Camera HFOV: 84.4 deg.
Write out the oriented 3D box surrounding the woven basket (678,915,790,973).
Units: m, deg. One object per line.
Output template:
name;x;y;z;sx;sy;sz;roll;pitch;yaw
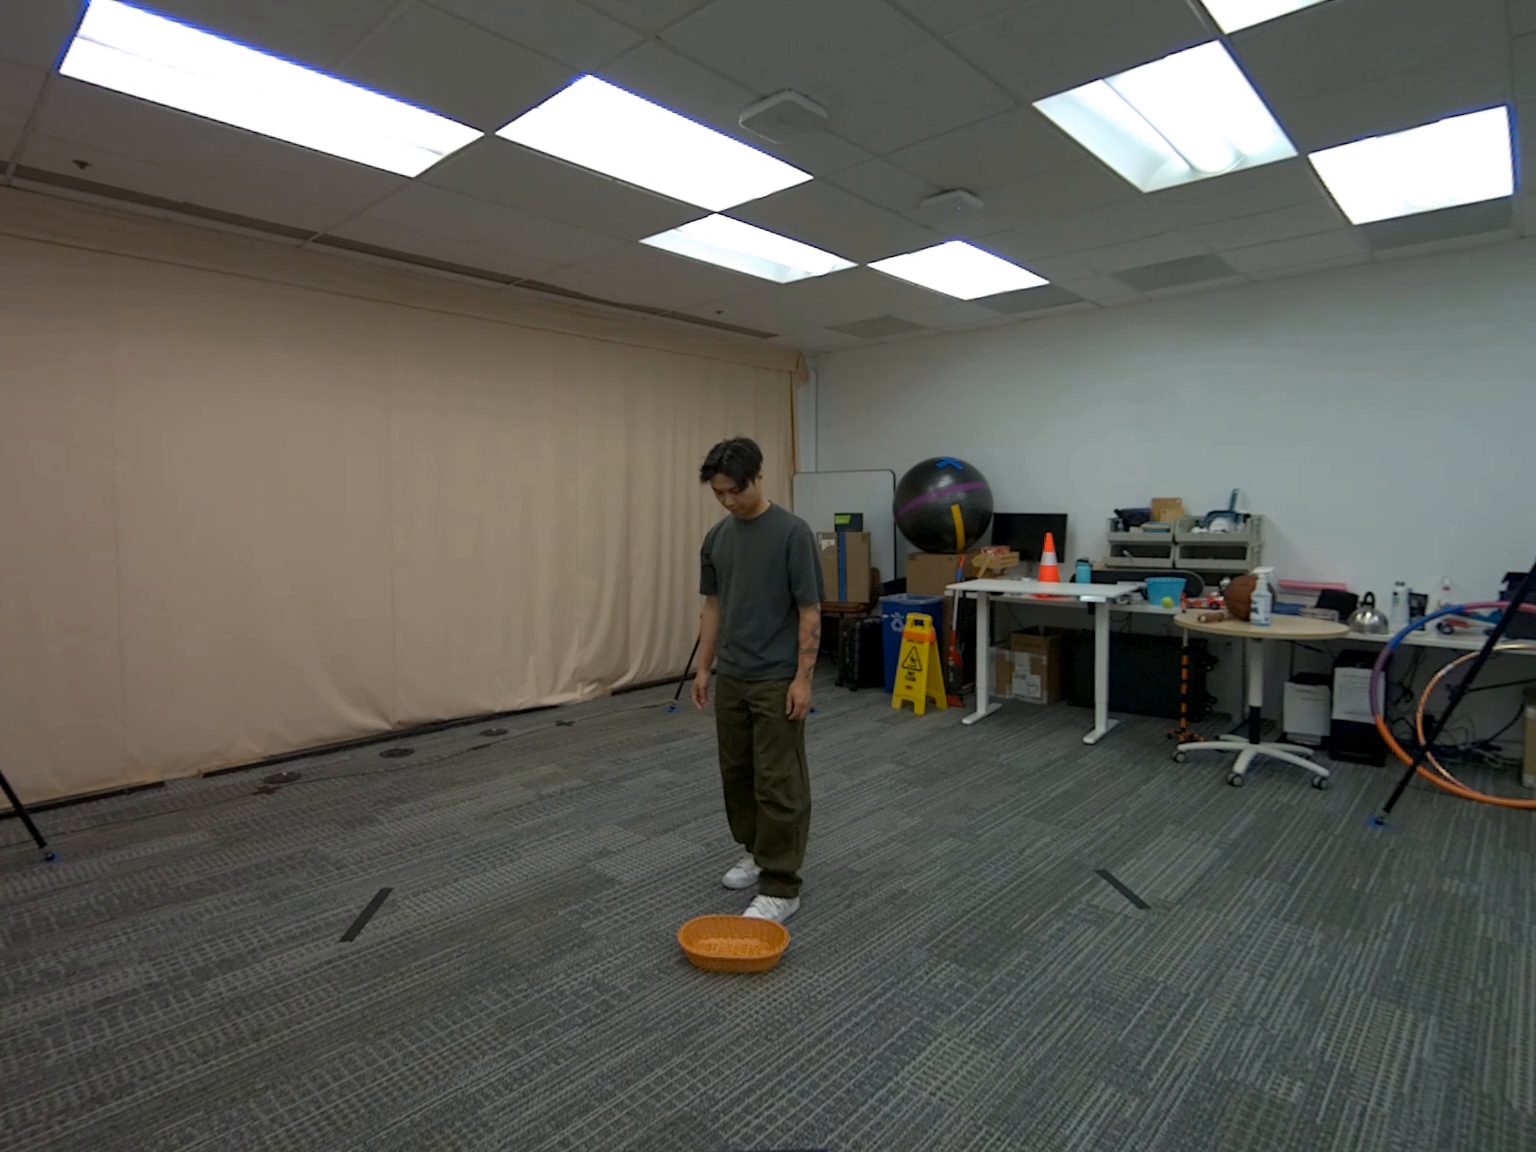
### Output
woven basket;-0.107;1.135;2.594;0.353;0.073;0.251;1;4;6
